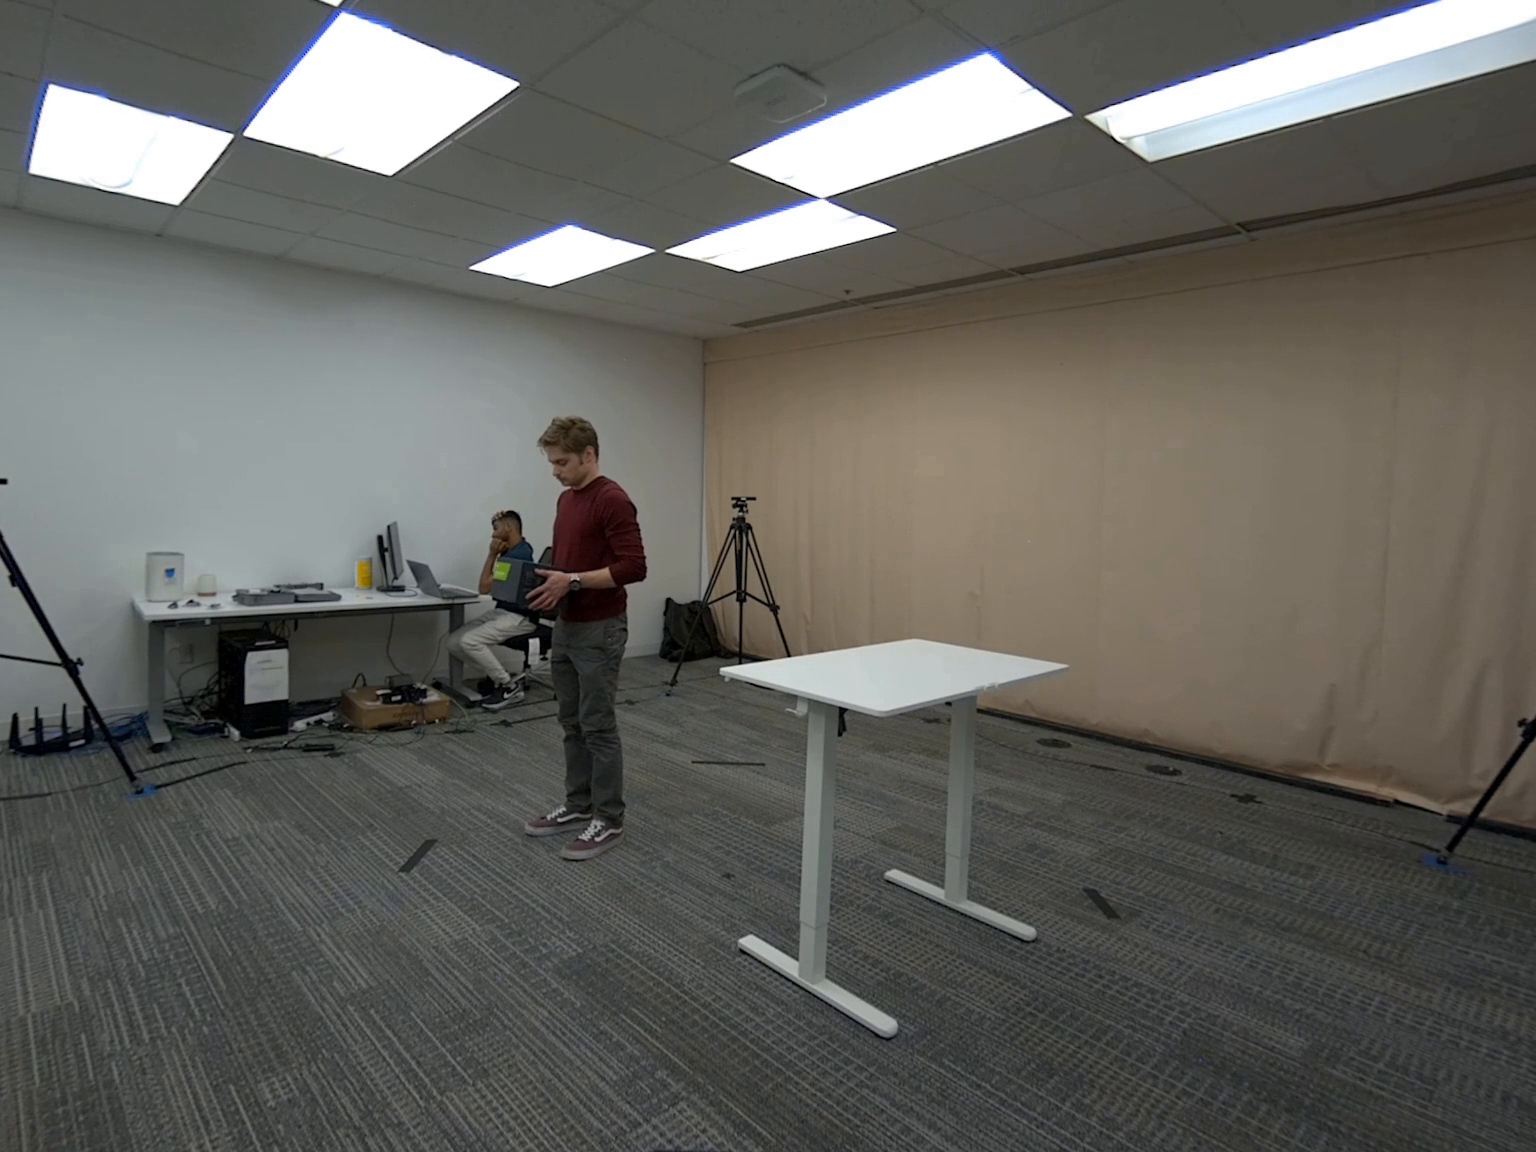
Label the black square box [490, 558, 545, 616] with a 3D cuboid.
[{"bbox_3d":[-0.913,0.028,3.224,0.211,0.156,0.234,12,-3,-42],"label":"black square box"}]
